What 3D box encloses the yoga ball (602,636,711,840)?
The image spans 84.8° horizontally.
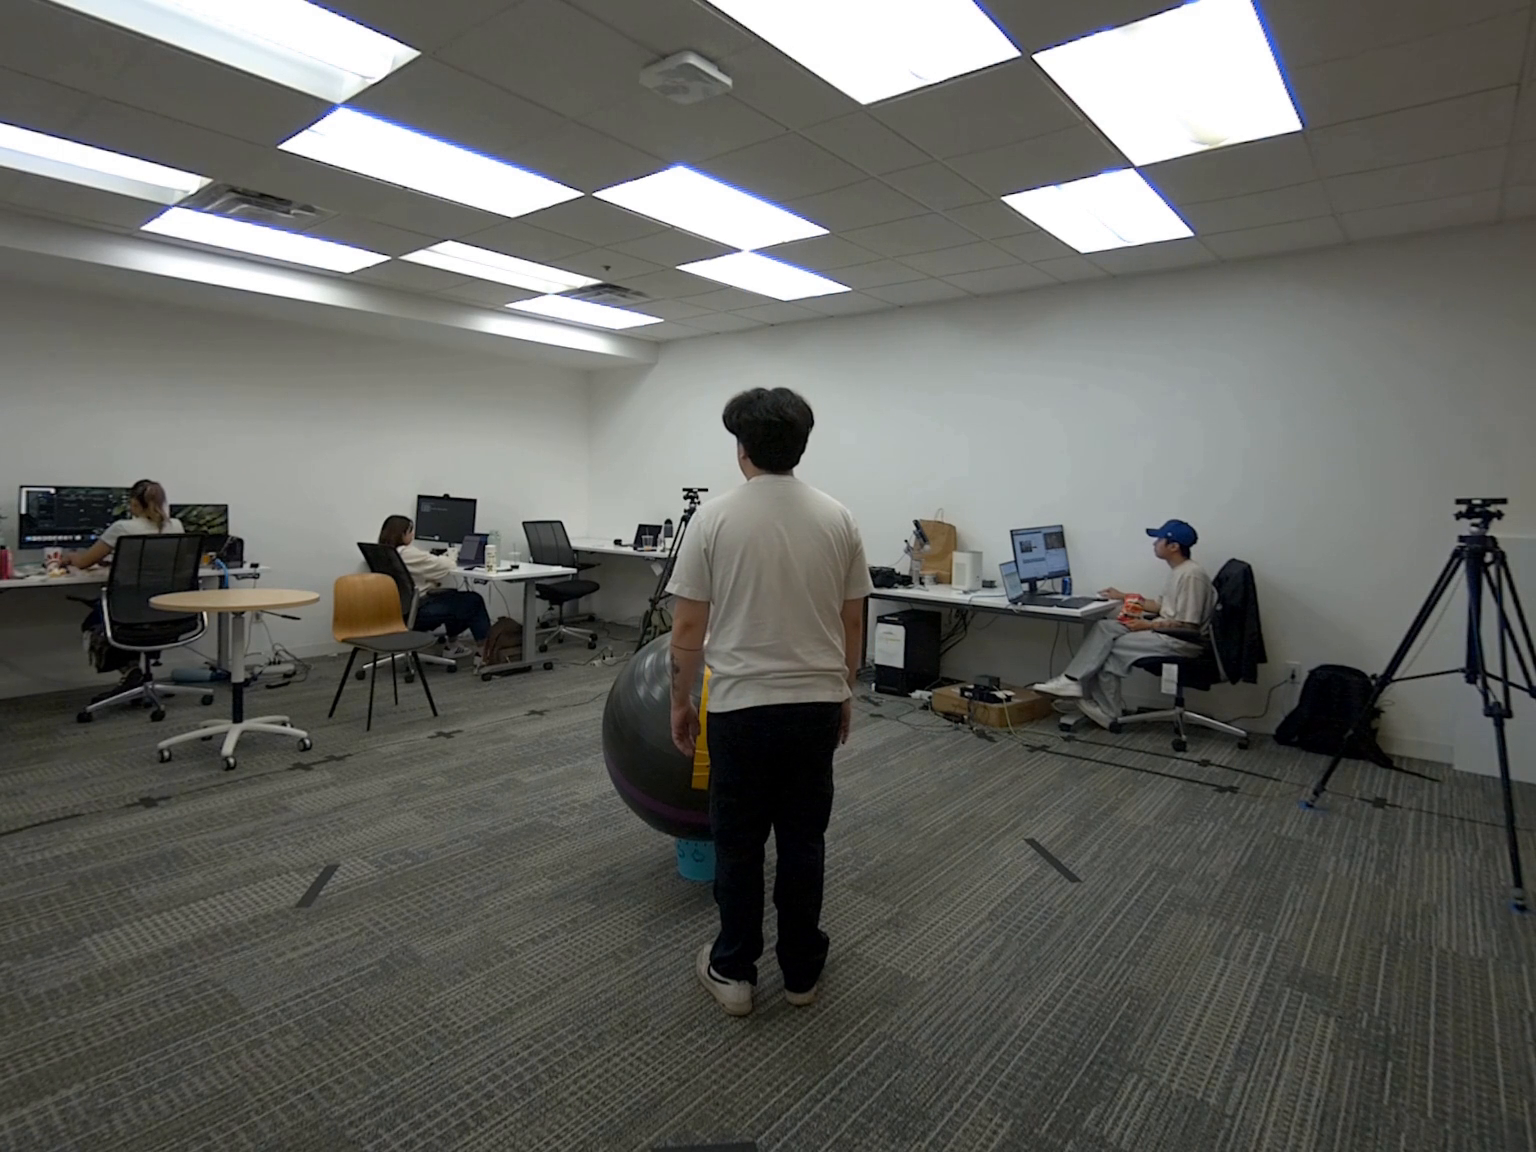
[{"bbox_3d":[-0.227,0.560,3.091,0.757,0.756,0.761,1,4,-2],"label":"yoga ball"}]
